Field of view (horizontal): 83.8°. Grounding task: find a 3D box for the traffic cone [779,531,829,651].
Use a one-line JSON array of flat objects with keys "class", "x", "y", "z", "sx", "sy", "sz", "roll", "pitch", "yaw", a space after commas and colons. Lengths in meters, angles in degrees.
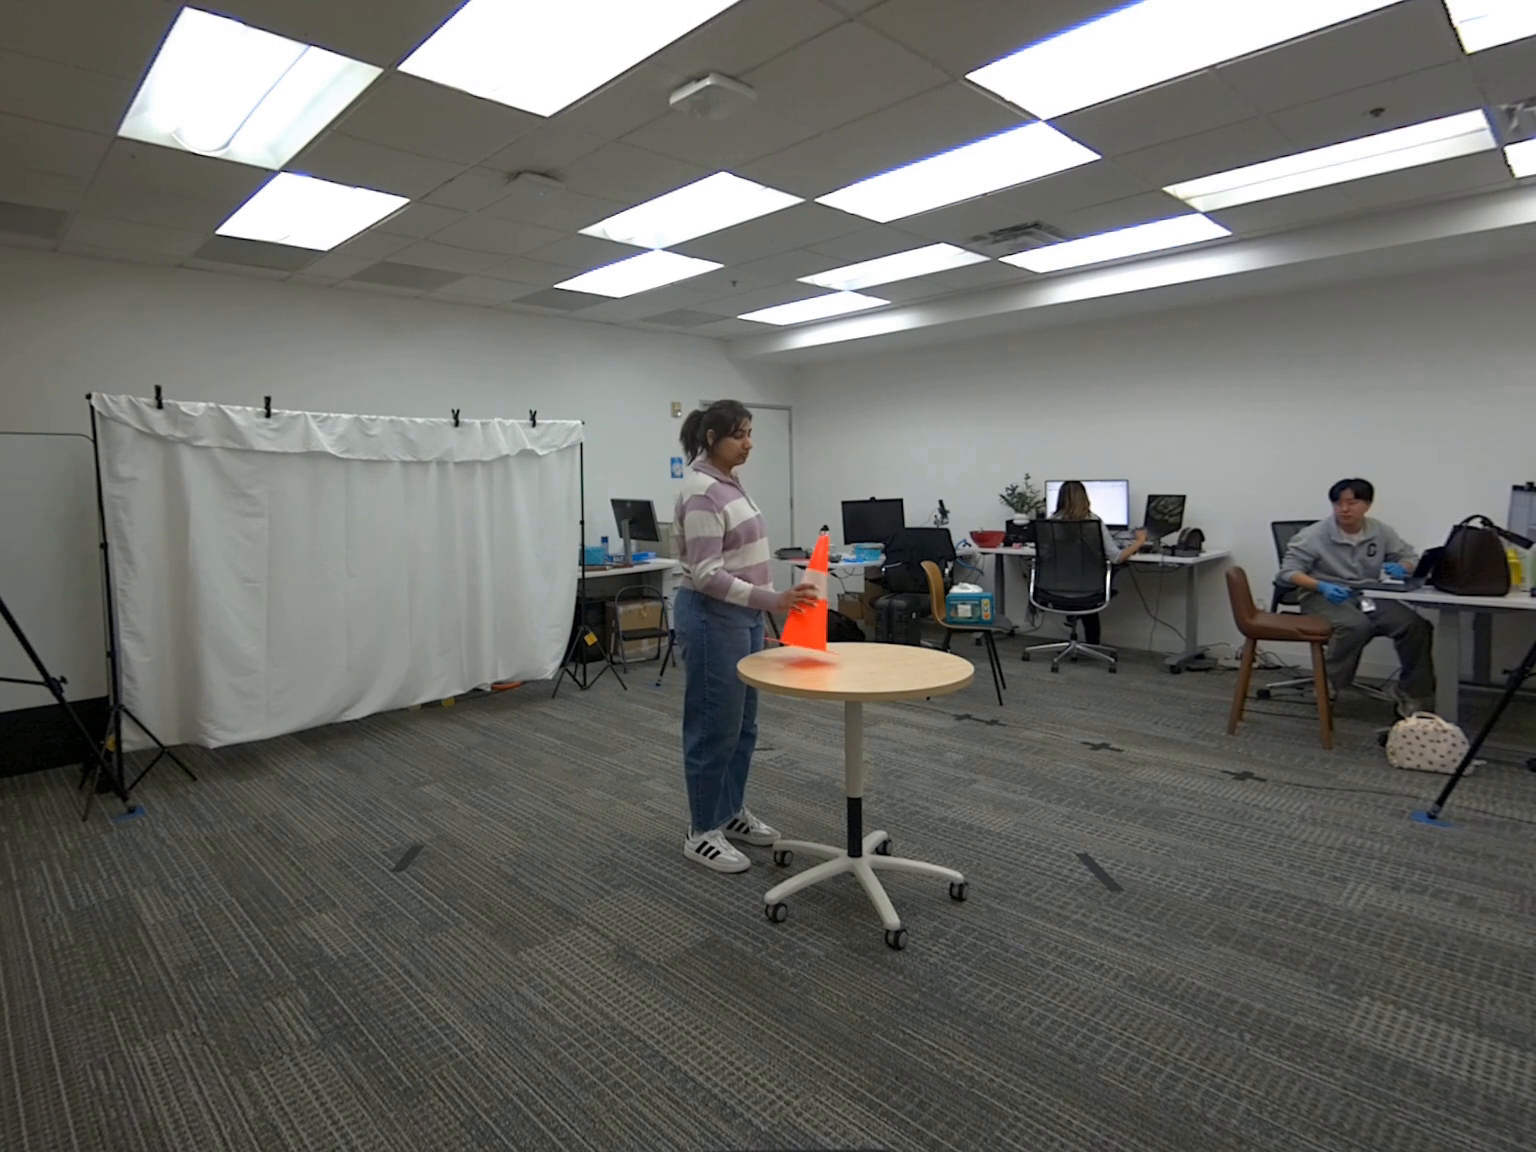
[{"class": "traffic cone", "x": 0.156, "y": 0.051, "z": 2.854, "sx": 0.197, "sy": 0.384, "sz": 0.211, "roll": 12, "pitch": -3, "yaw": -32}]
